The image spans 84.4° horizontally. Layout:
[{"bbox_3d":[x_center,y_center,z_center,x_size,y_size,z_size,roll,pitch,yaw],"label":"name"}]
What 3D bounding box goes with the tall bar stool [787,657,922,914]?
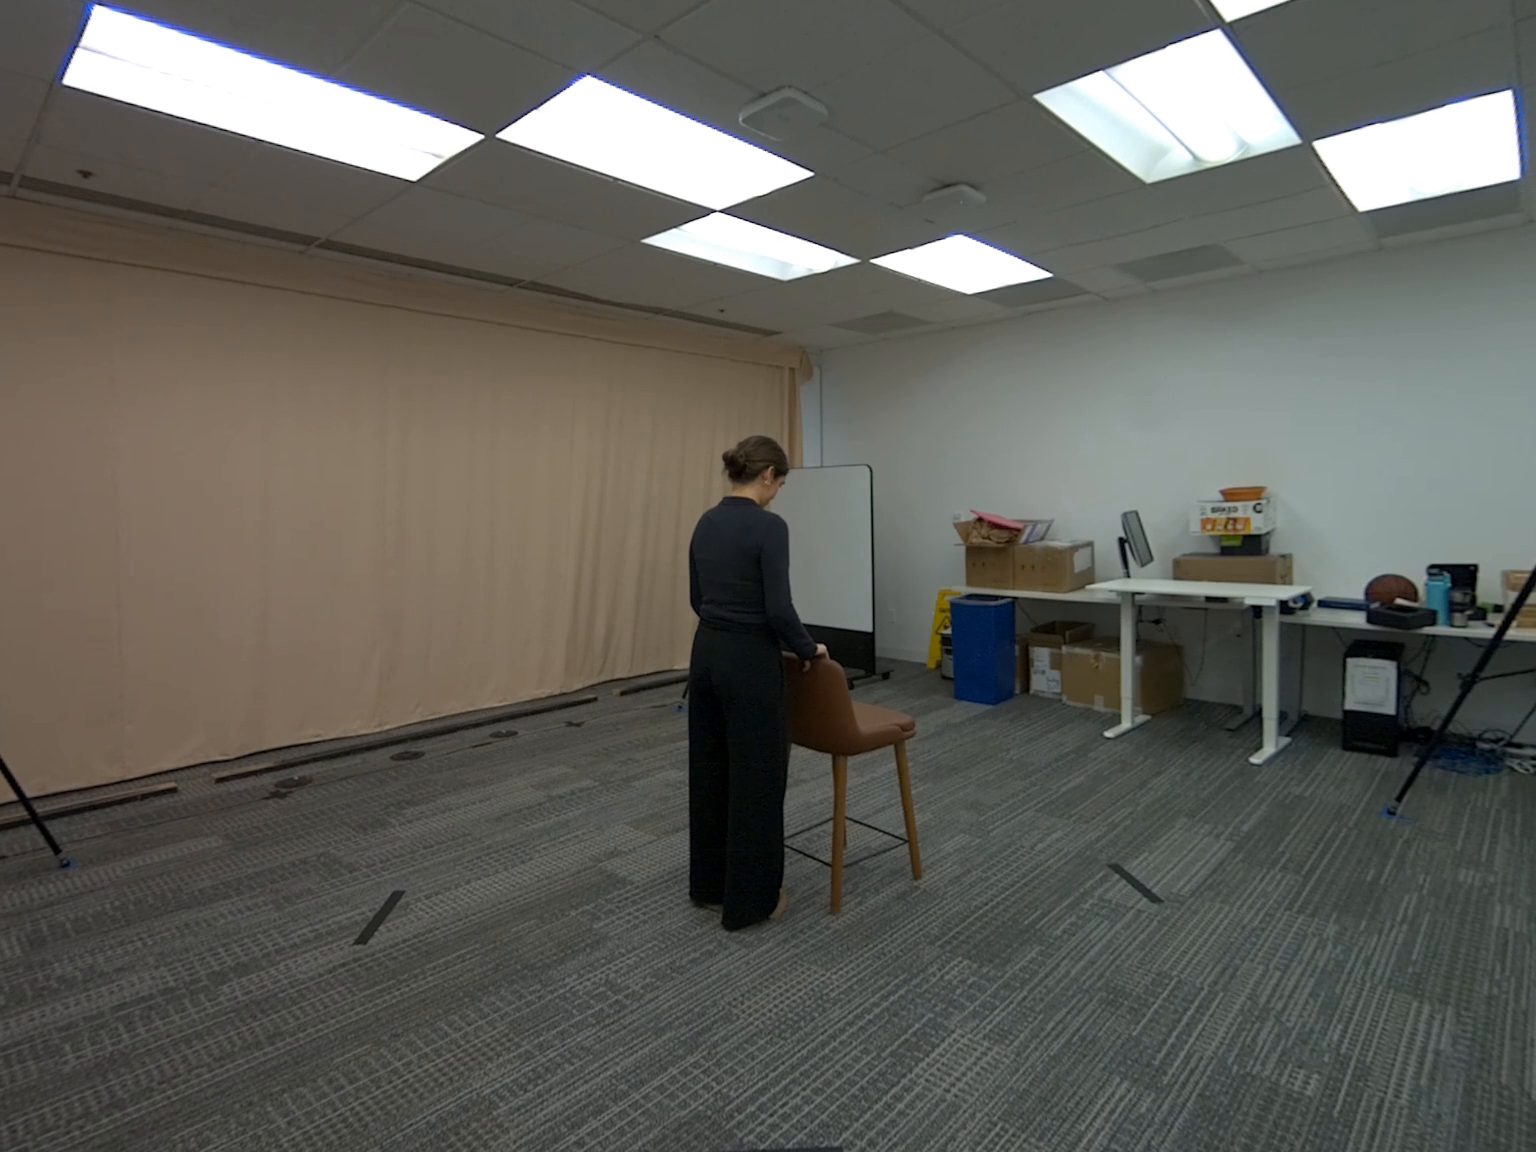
[{"bbox_3d":[0.258,0.686,3.096,0.454,0.887,0.471,-7,6,-40],"label":"tall bar stool"}]
